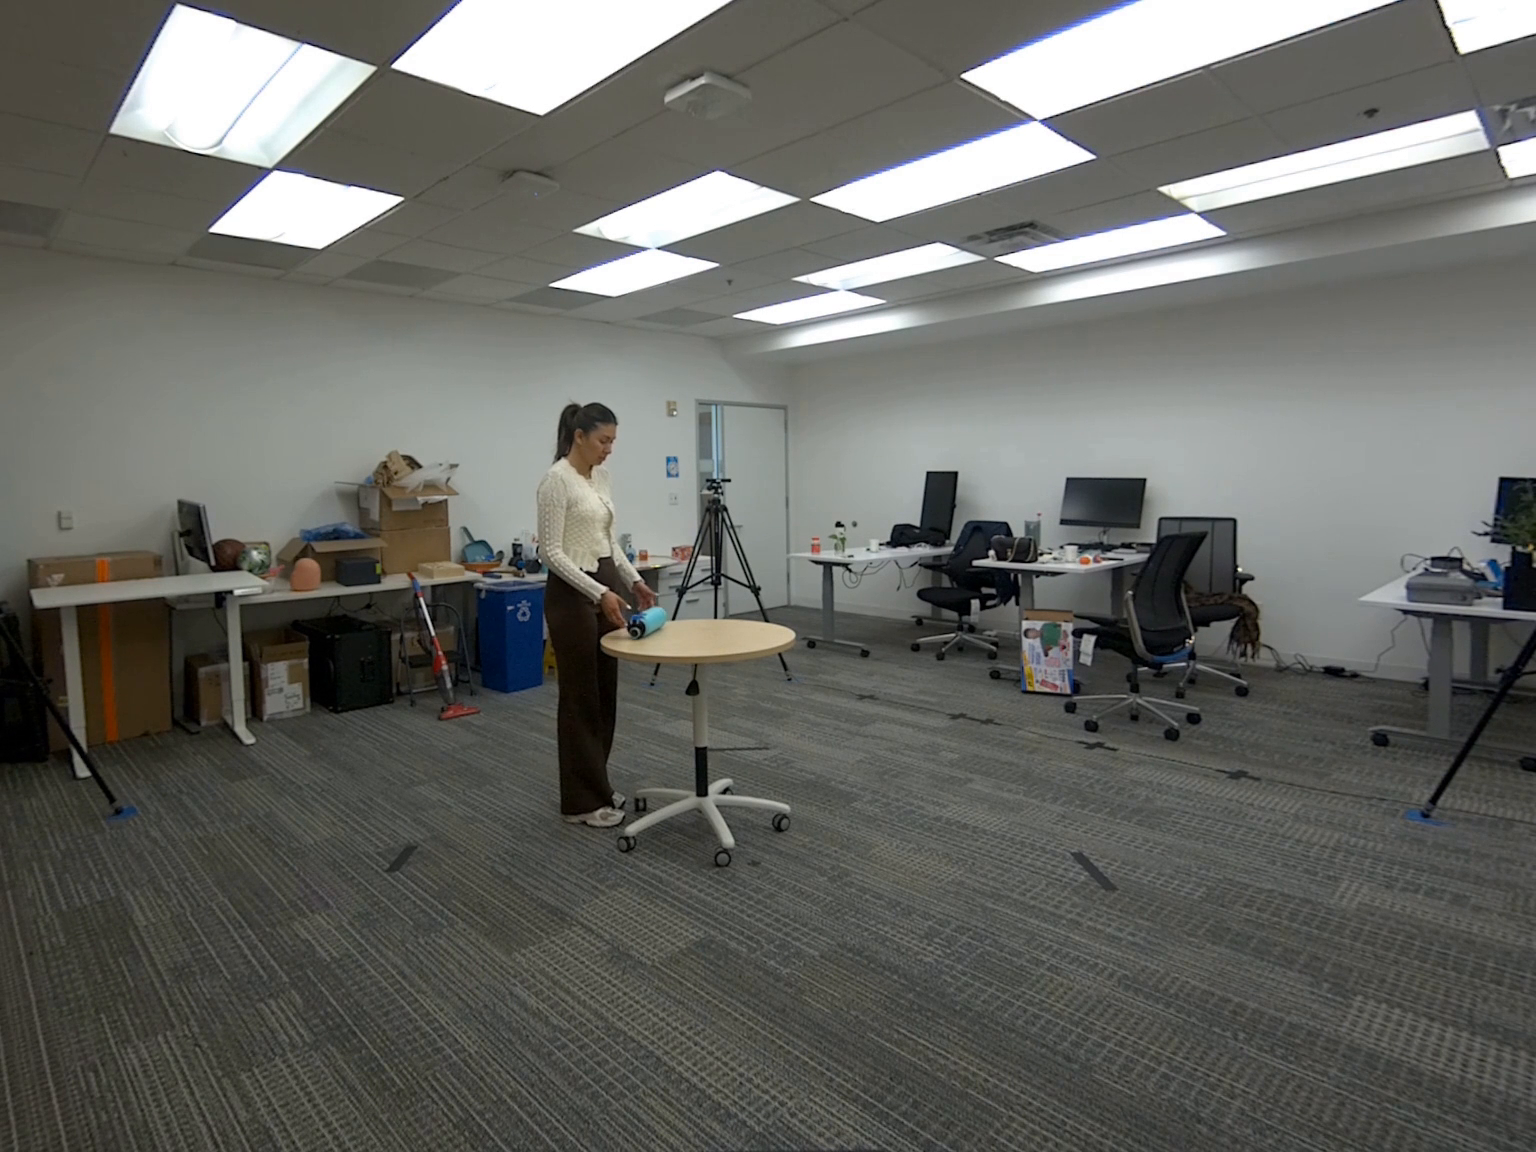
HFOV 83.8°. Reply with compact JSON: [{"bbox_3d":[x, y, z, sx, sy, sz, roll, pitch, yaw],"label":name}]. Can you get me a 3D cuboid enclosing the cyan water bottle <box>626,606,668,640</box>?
[{"bbox_3d":[-0.489,0.191,3.432,0.094,0.091,0.281,0,9,14],"label":"cyan water bottle"}]
